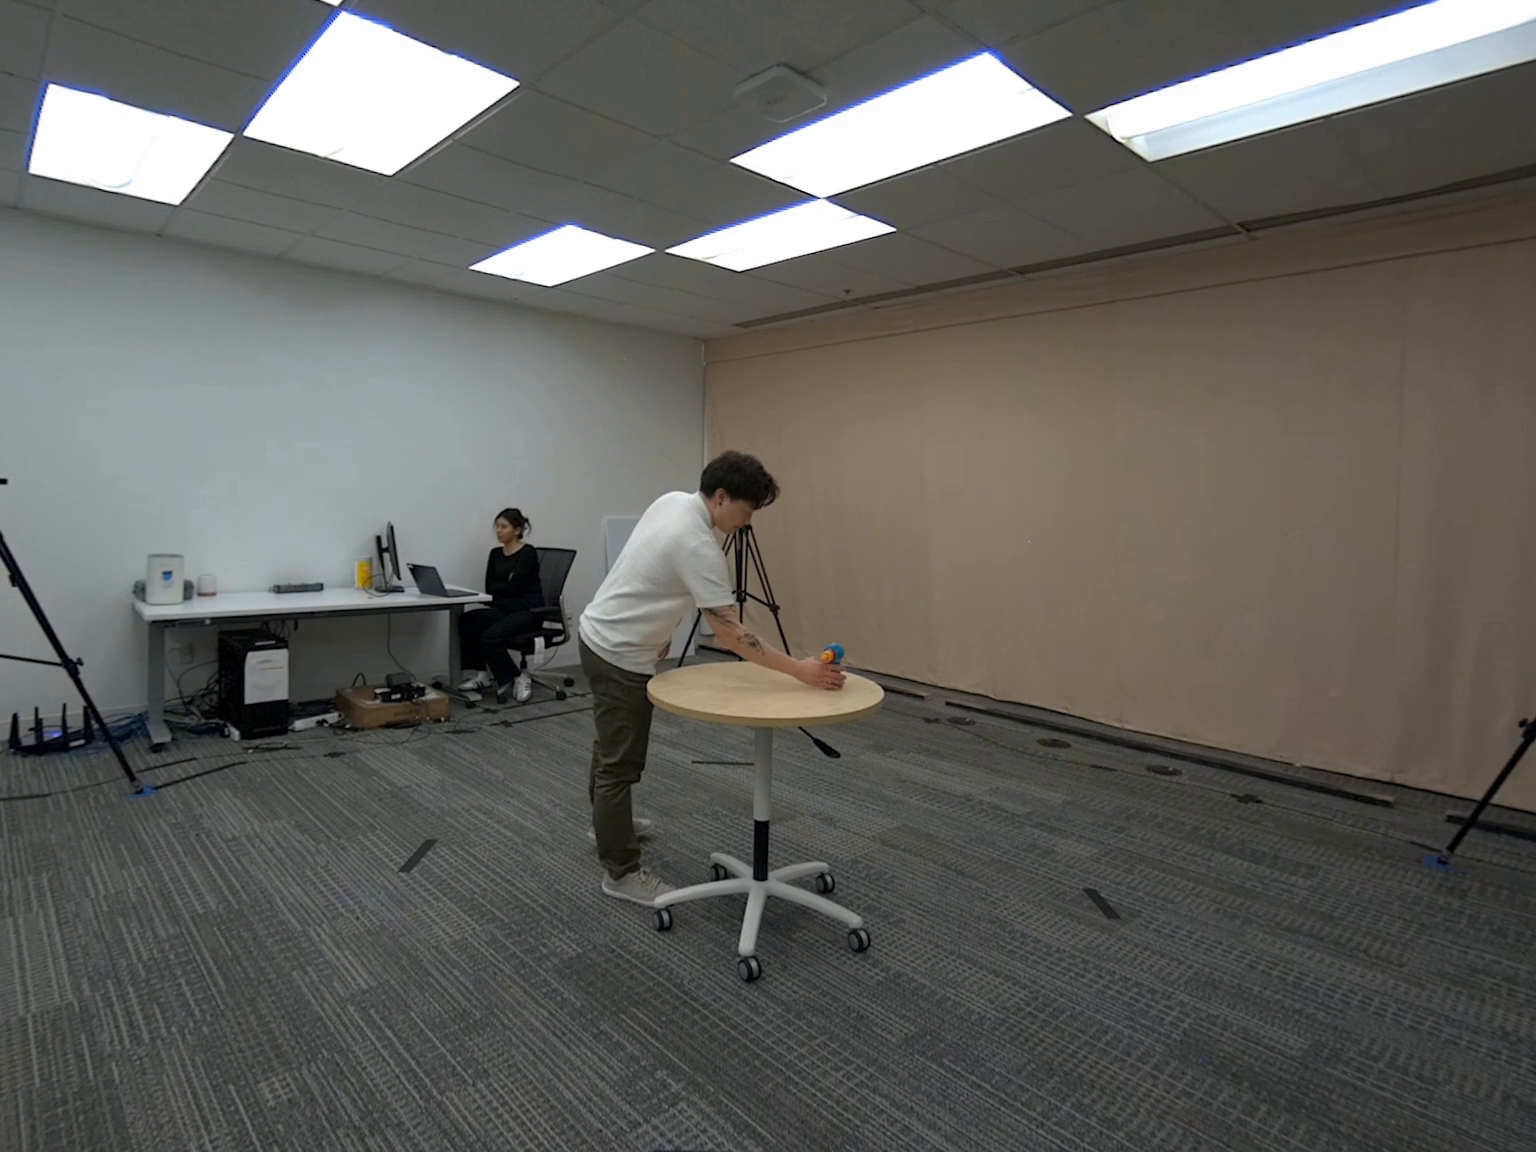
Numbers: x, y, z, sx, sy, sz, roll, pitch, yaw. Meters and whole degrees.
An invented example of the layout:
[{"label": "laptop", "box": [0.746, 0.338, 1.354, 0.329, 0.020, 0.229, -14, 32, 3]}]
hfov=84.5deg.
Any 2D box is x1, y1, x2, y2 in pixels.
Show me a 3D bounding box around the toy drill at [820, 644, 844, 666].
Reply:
[{"label": "toy drill", "box": [0.197, 0.293, 2.714, 0.062, 0.145, 0.167, 4, 7, 20]}]
